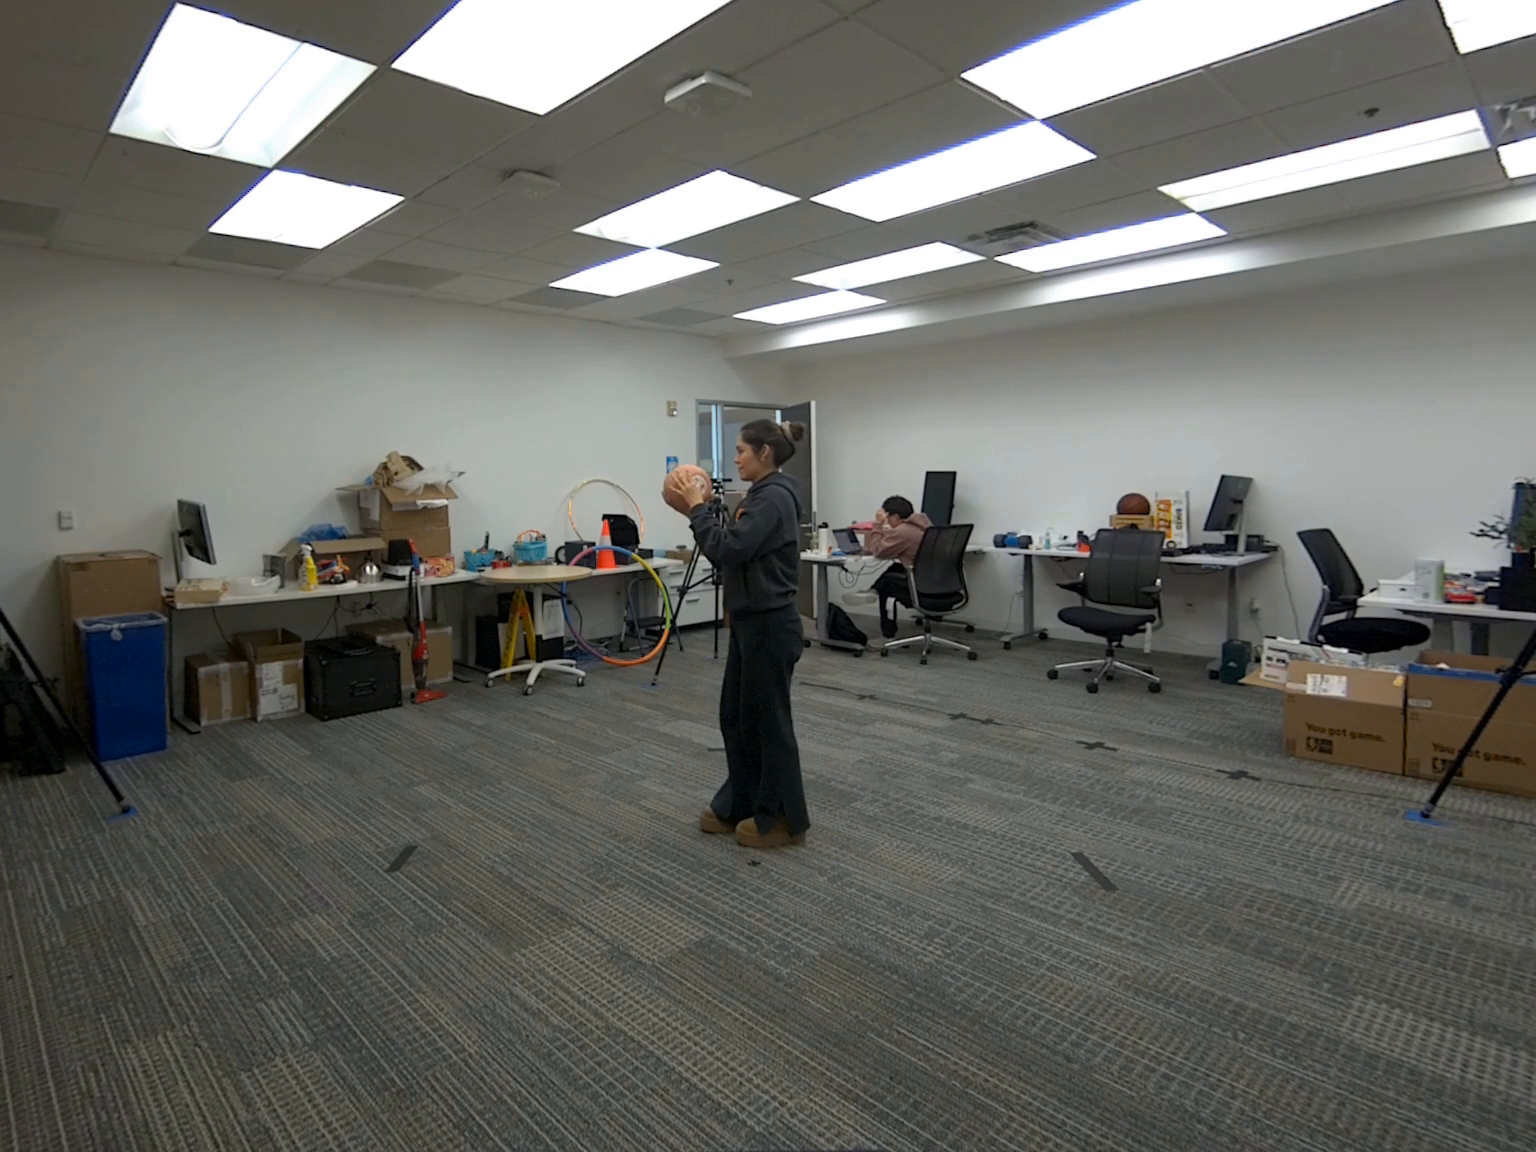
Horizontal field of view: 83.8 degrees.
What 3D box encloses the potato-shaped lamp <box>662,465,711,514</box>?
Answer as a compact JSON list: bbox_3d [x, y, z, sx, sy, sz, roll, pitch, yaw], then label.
[{"bbox_3d":[-0.318,-0.358,3.367,0.170,0.162,0.203,-17,16,-11],"label":"potato-shaped lamp"}]
